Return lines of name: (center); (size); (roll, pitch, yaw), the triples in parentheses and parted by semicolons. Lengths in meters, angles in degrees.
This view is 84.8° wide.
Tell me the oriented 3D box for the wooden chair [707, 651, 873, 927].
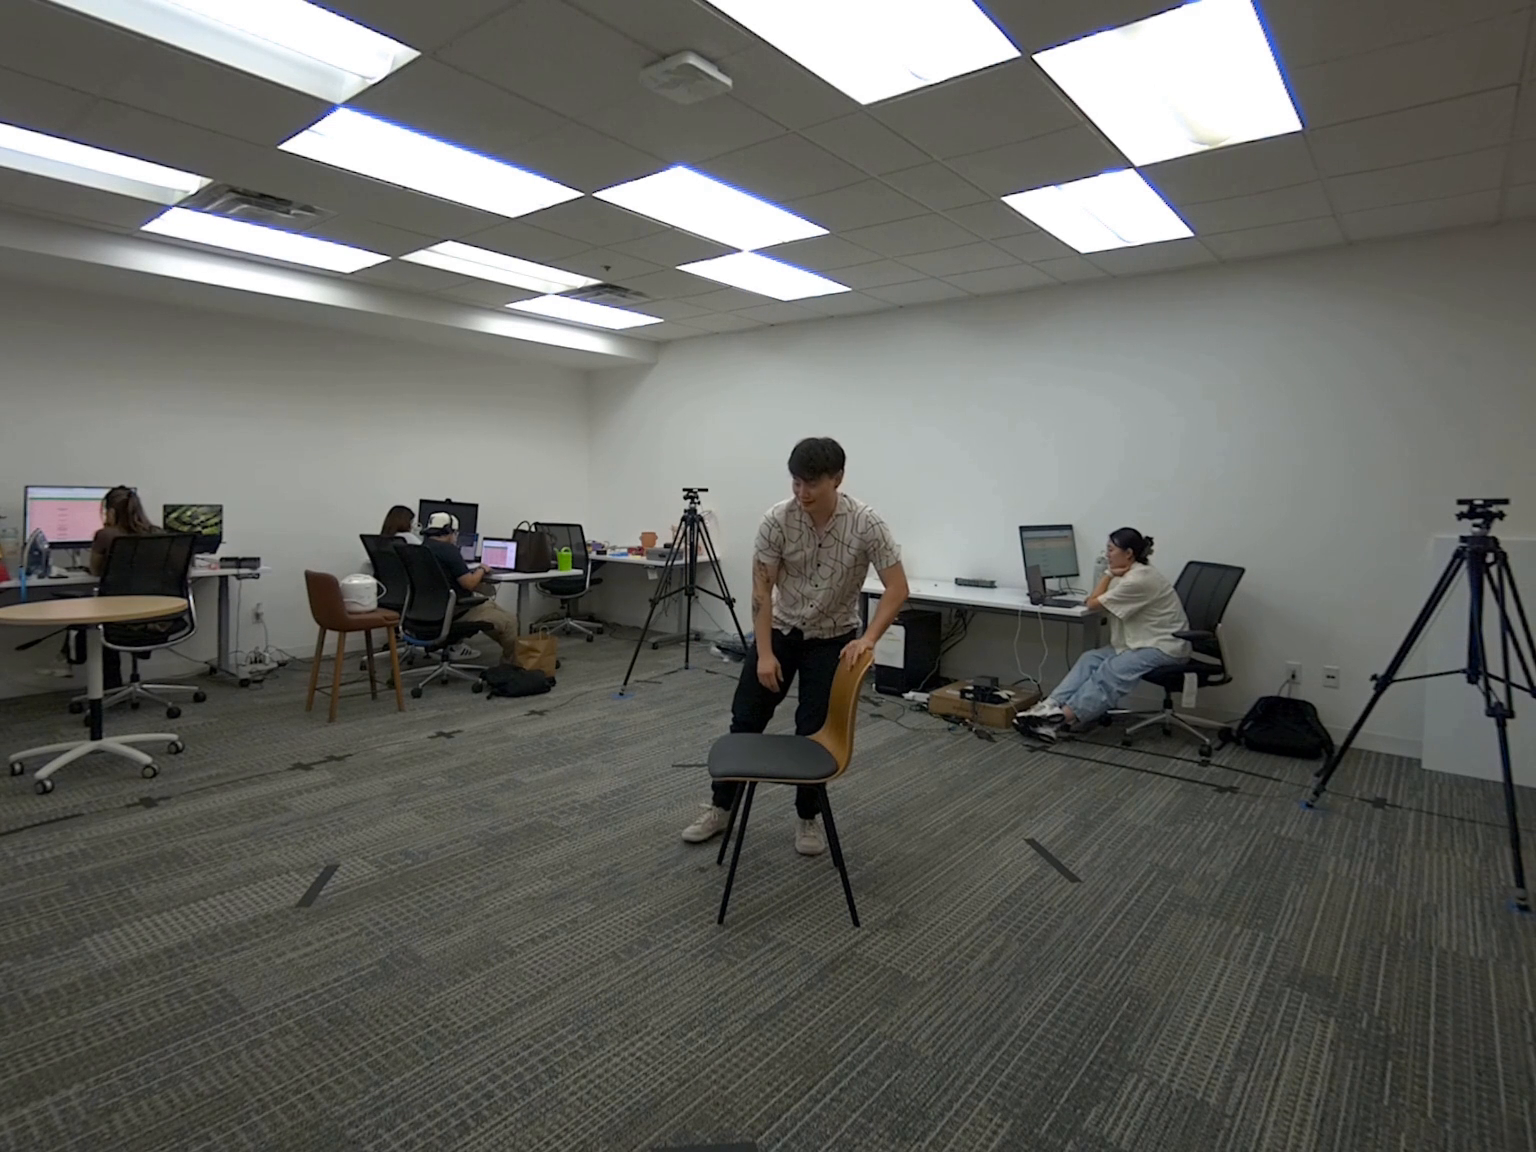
wooden chair: (0.050, 0.666, 2.909); (0.522, 0.875, 0.480); (5, 4, -2)
